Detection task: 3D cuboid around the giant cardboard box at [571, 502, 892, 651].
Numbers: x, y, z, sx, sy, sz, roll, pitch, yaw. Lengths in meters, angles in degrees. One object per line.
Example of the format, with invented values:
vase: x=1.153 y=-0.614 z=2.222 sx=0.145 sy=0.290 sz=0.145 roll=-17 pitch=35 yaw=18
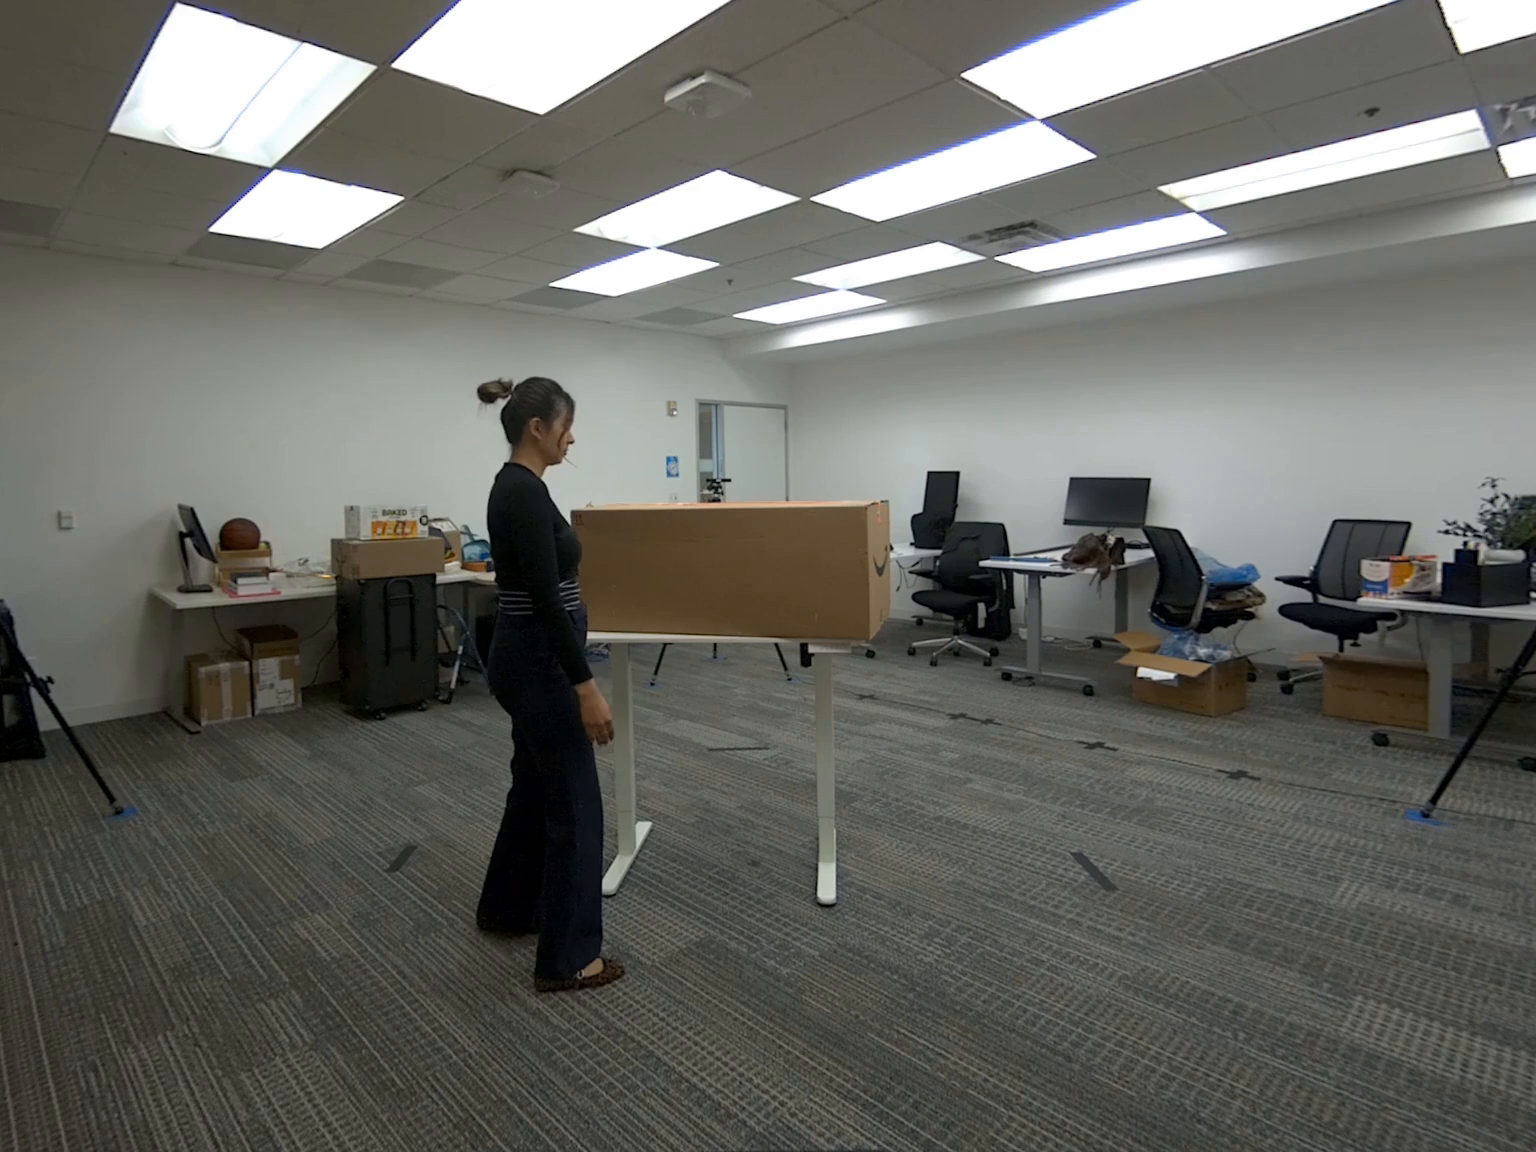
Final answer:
giant cardboard box: x=-0.108 y=-0.045 z=3.056 sx=1.044 sy=0.424 sz=0.570 roll=0 pitch=6 yaw=18
